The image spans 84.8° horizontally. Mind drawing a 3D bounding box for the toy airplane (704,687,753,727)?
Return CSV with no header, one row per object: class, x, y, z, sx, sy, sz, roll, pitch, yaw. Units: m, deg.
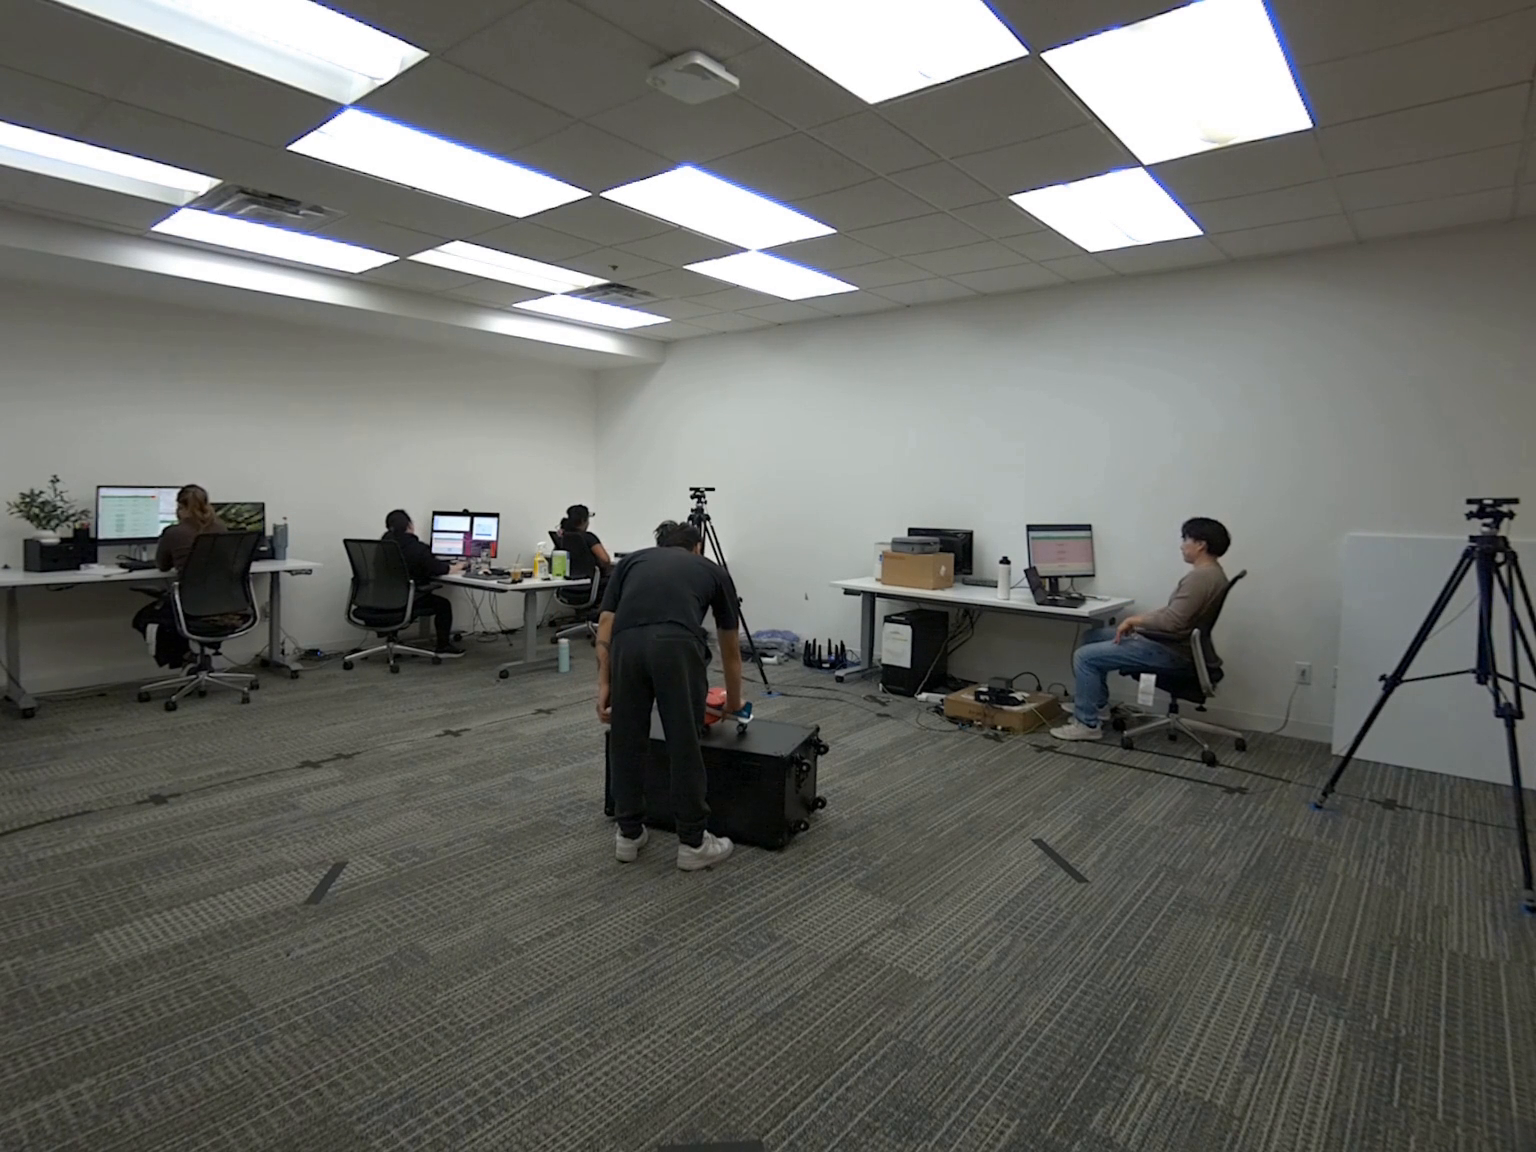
toy airplane,-0.198,0.566,3.622,0.257,0.156,0.254,0,5,-7
